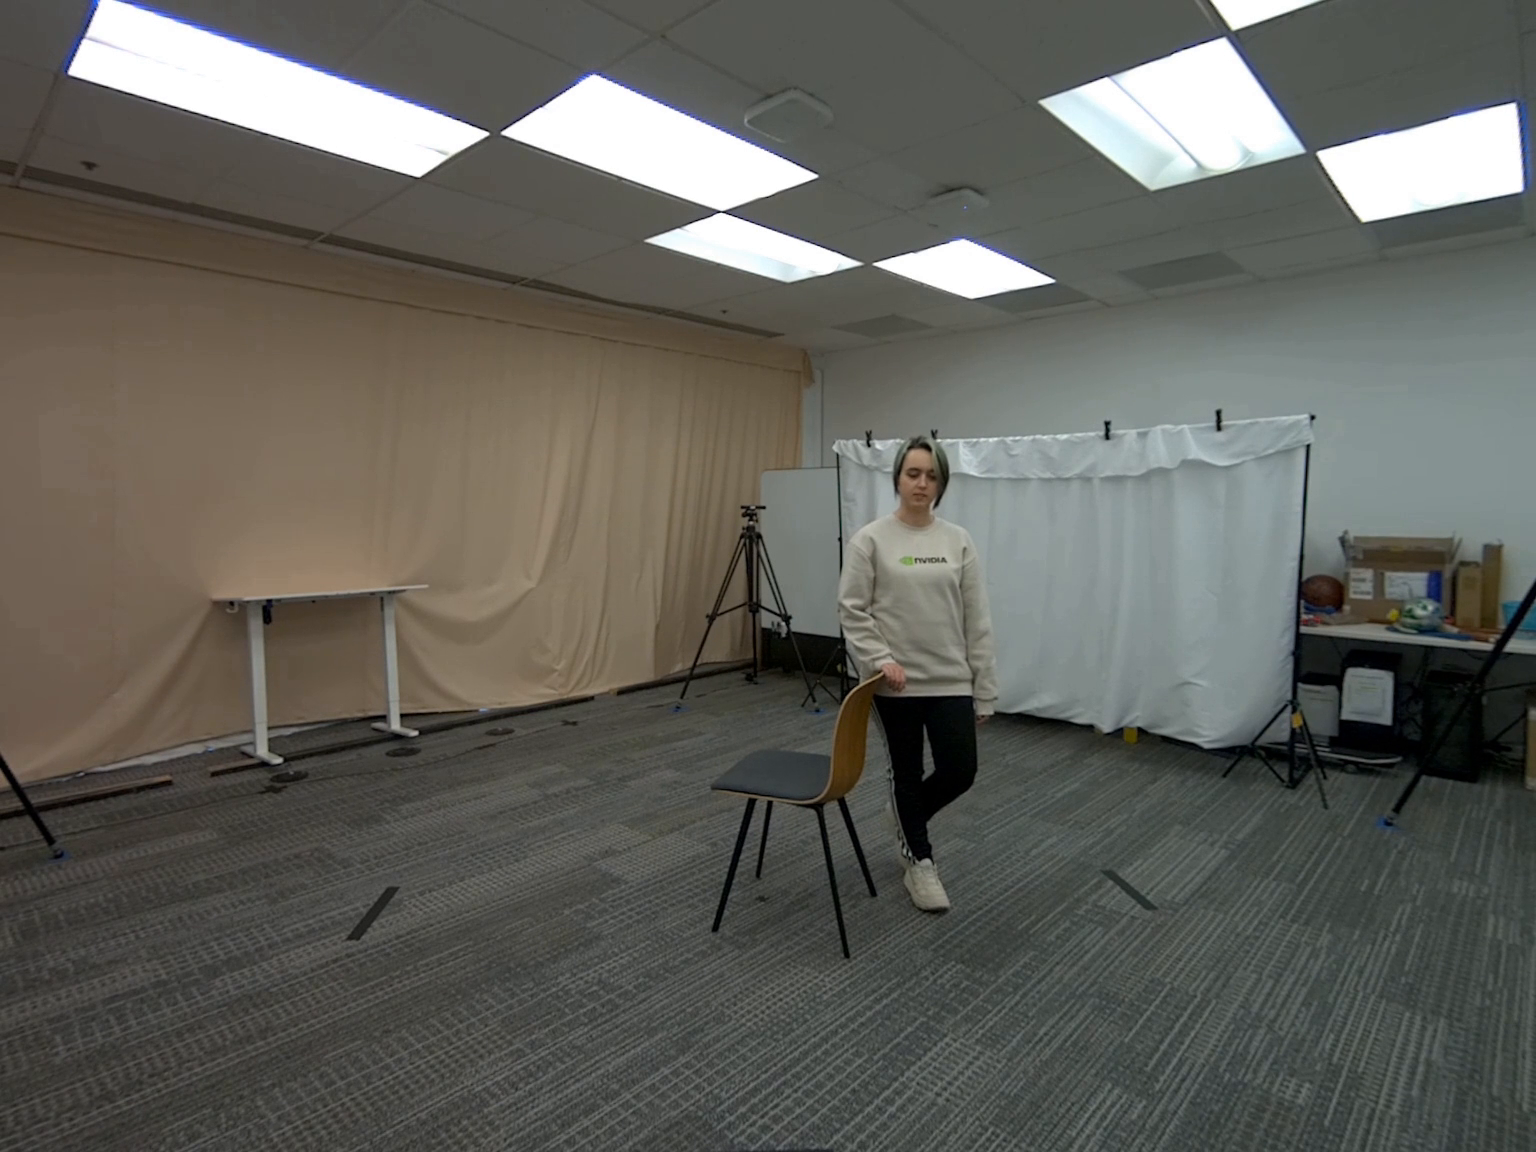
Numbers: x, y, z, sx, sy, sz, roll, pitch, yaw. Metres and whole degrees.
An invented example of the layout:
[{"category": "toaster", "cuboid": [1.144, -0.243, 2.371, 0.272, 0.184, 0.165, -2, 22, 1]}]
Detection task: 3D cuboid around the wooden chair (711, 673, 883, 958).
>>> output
[{"category": "wooden chair", "cuboid": [0.095, 0.727, 2.848, 0.535, 0.875, 0.468, 6, 5, 21]}]
